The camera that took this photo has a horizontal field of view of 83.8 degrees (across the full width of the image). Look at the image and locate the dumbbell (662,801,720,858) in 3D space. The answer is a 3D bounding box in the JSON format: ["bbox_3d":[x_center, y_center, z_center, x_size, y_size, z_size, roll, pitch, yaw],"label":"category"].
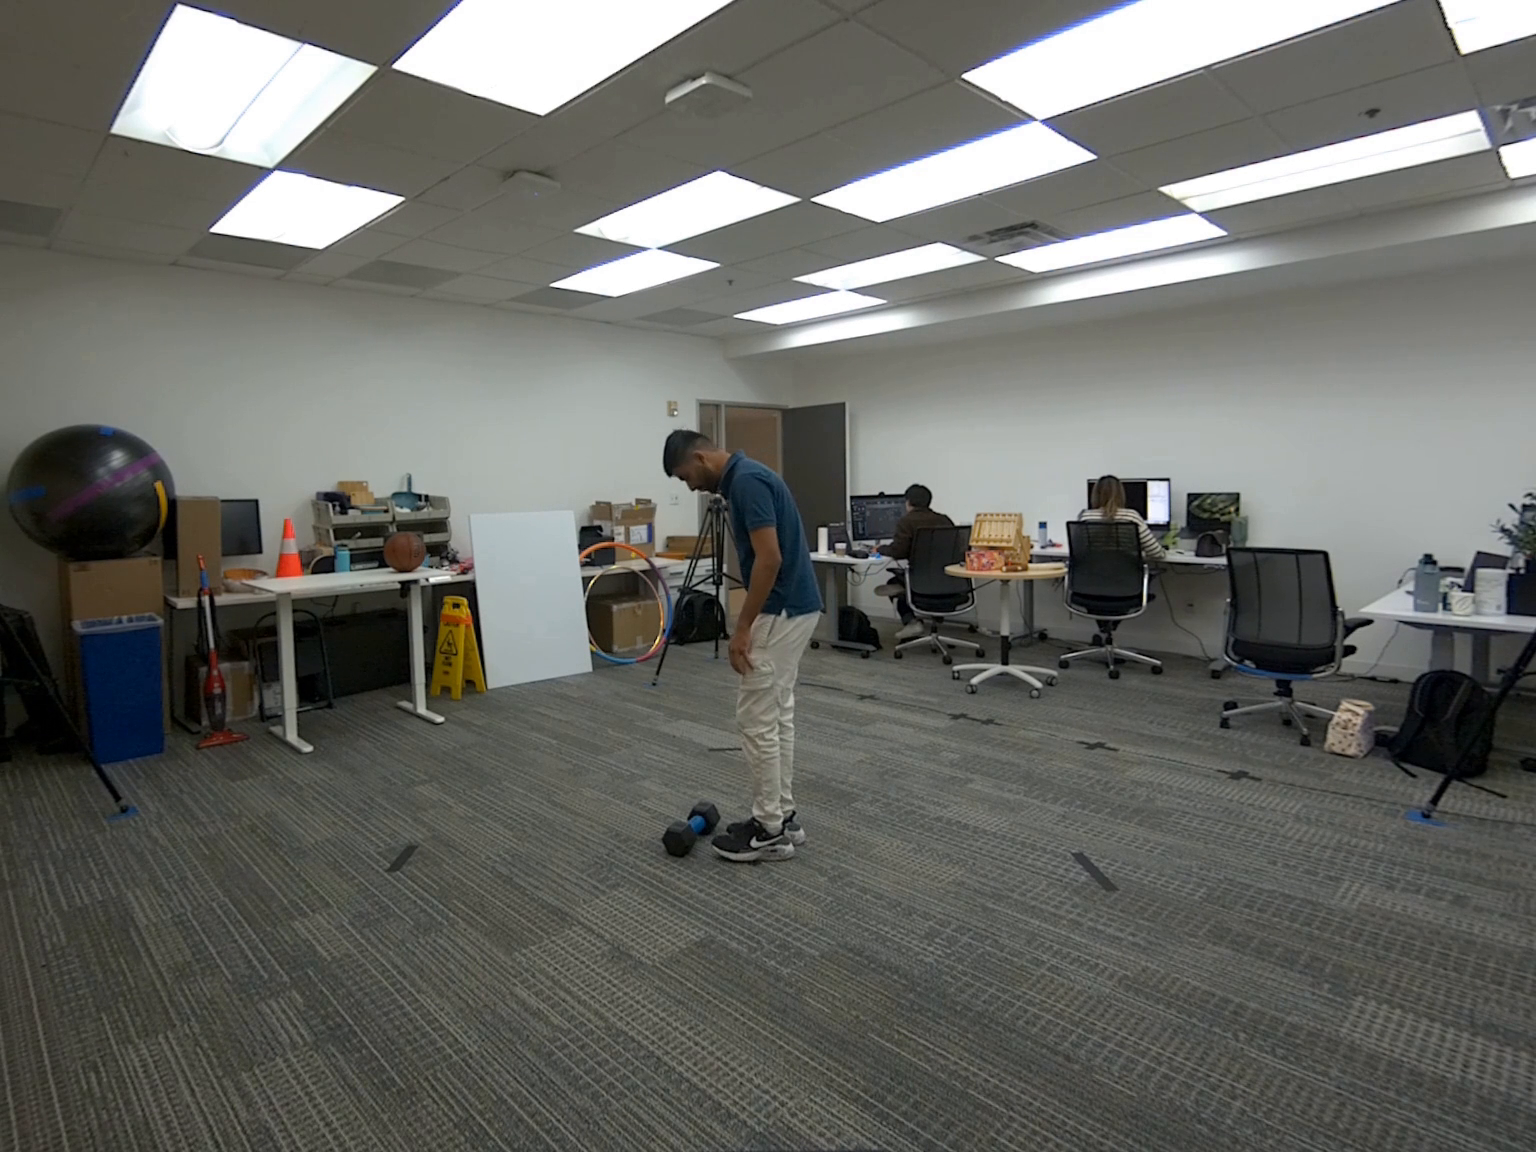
[{"bbox_3d":[-0.287,0.974,3.297,0.109,0.124,0.289,-33,-6,22],"label":"dumbbell"}]
